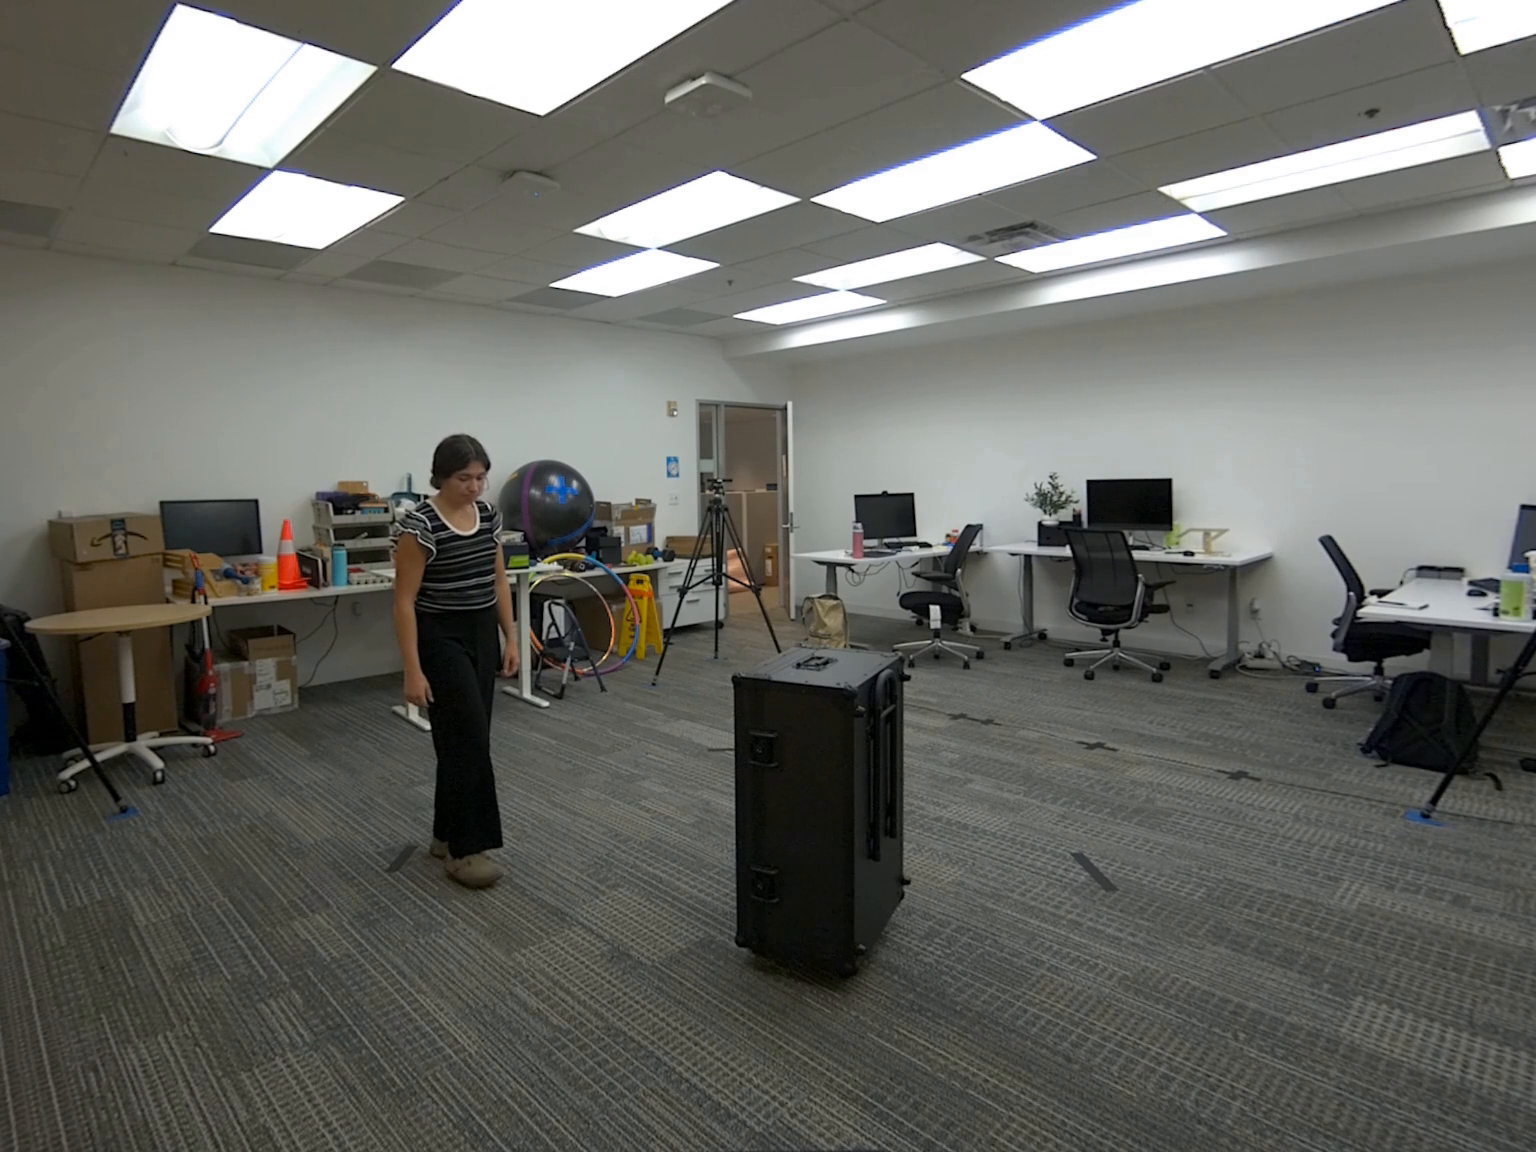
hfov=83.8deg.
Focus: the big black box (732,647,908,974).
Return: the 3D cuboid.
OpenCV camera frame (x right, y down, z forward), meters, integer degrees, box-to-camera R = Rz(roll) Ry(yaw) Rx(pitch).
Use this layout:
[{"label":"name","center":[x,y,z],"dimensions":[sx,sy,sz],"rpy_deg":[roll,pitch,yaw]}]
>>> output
[{"label":"big black box","center":[0.181,0.688,2.532],"dimensions":[0.406,0.858,0.511],"rpy_deg":[2,5,26]}]
